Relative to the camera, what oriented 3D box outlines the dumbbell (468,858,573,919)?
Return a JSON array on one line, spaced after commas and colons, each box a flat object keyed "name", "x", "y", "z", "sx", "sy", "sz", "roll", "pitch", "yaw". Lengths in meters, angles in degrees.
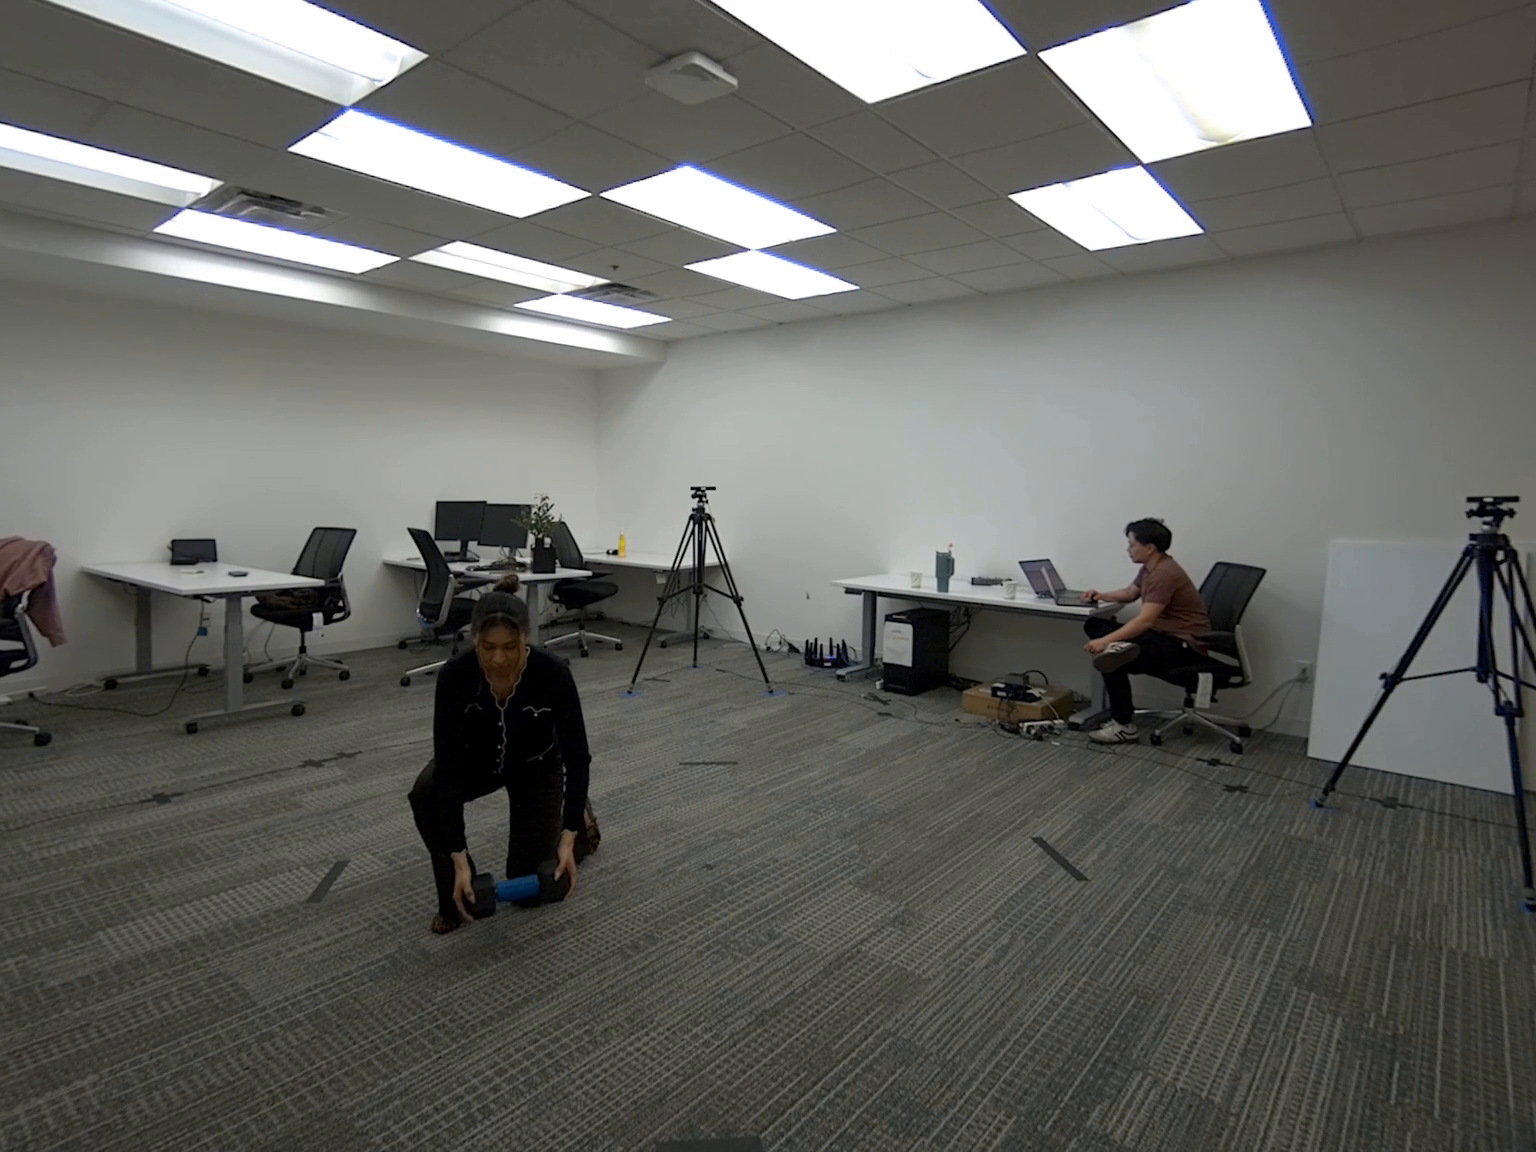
[{"name": "dumbbell", "x": -0.763, "y": 0.928, "z": 2.536, "sx": 0.290, "sy": 0.125, "sz": 0.108, "roll": -6, "pitch": -15, "yaw": -14}]
